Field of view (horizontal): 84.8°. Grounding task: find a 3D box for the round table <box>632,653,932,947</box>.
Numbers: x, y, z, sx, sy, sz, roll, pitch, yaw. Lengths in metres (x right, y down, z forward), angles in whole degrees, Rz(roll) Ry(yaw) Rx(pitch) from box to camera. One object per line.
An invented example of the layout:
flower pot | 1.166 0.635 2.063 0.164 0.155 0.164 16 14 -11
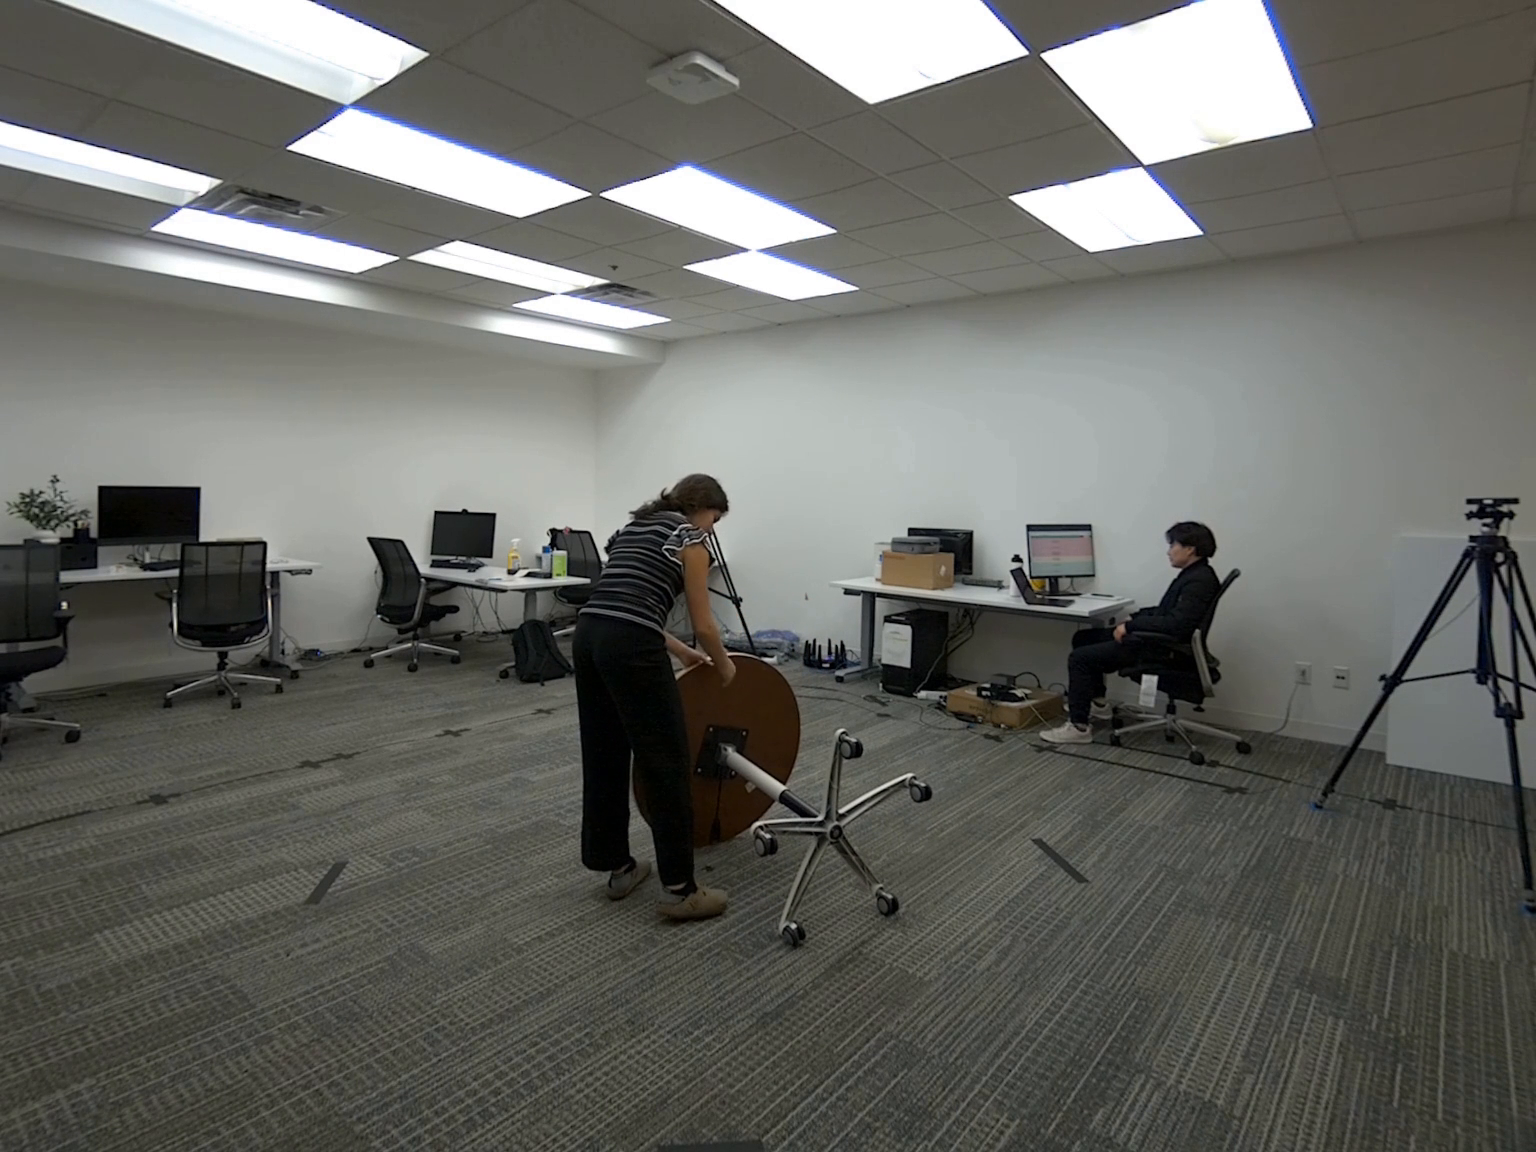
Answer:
round table | 0.031 0.747 2.961 0.742 0.758 0.823 -2 11 -34
